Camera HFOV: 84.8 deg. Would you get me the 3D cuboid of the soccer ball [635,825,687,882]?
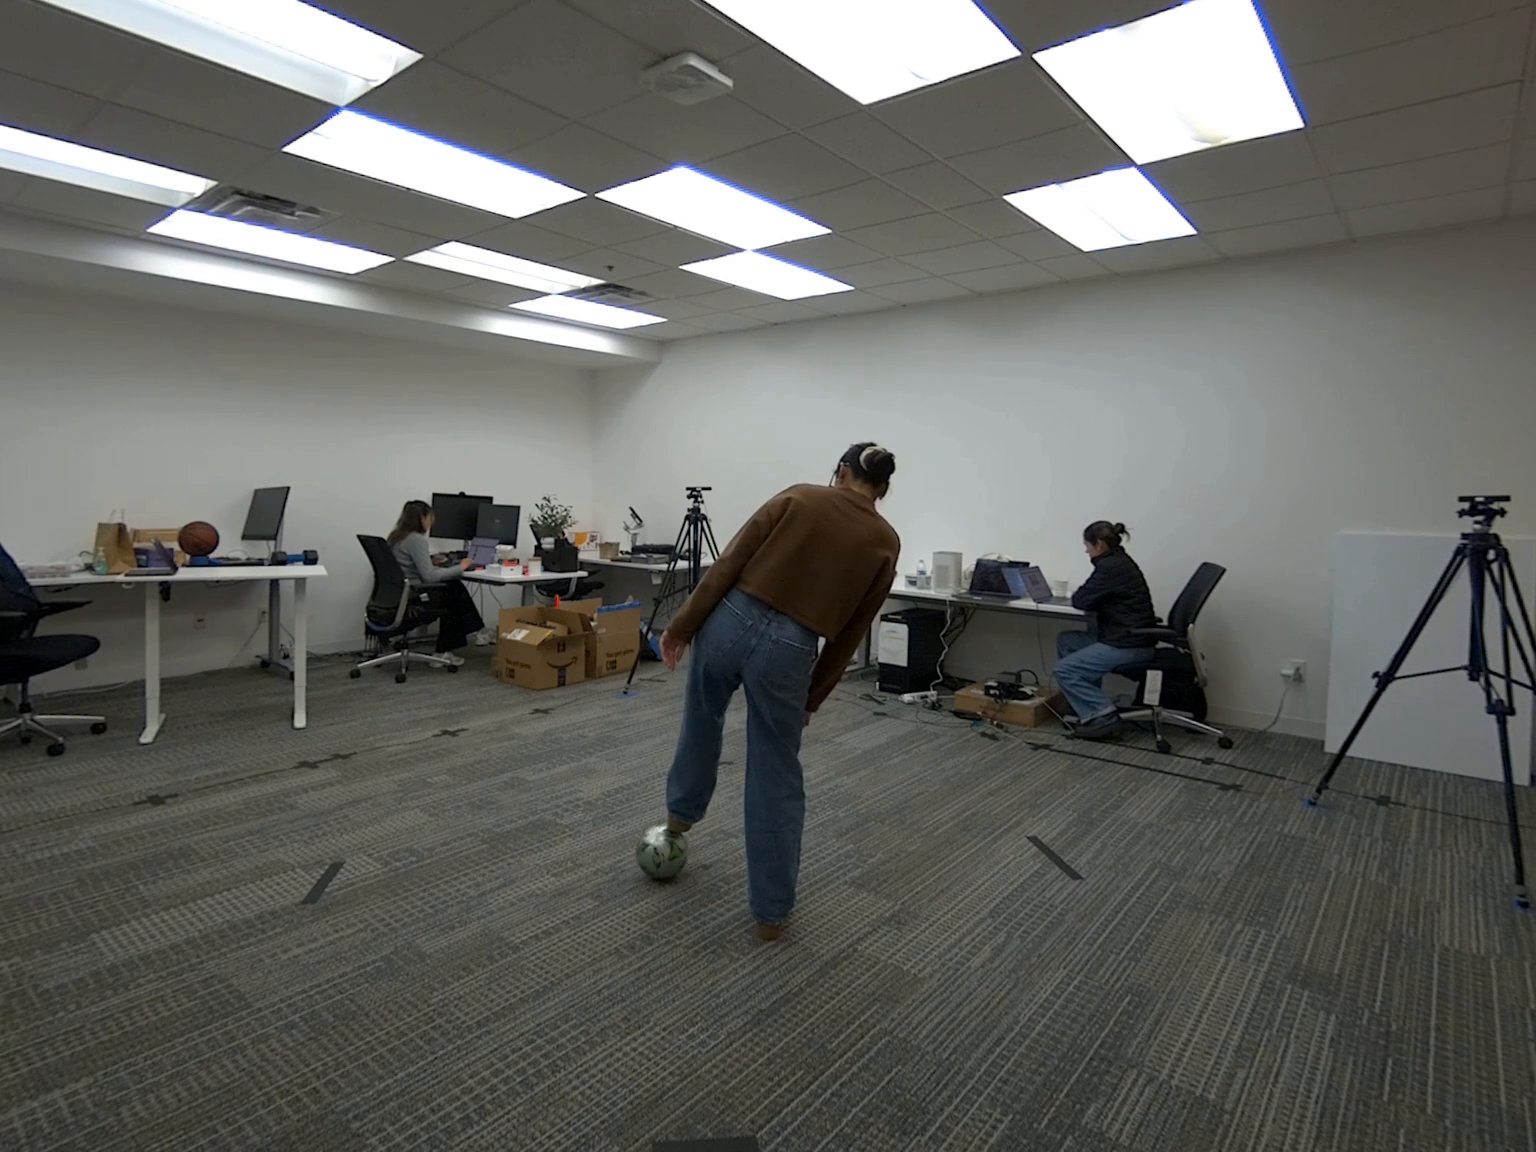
[{"bbox_3d":[-0.391,0.980,3.023,0.187,0.187,0.188,1,4,-2],"label":"soccer ball"}]
